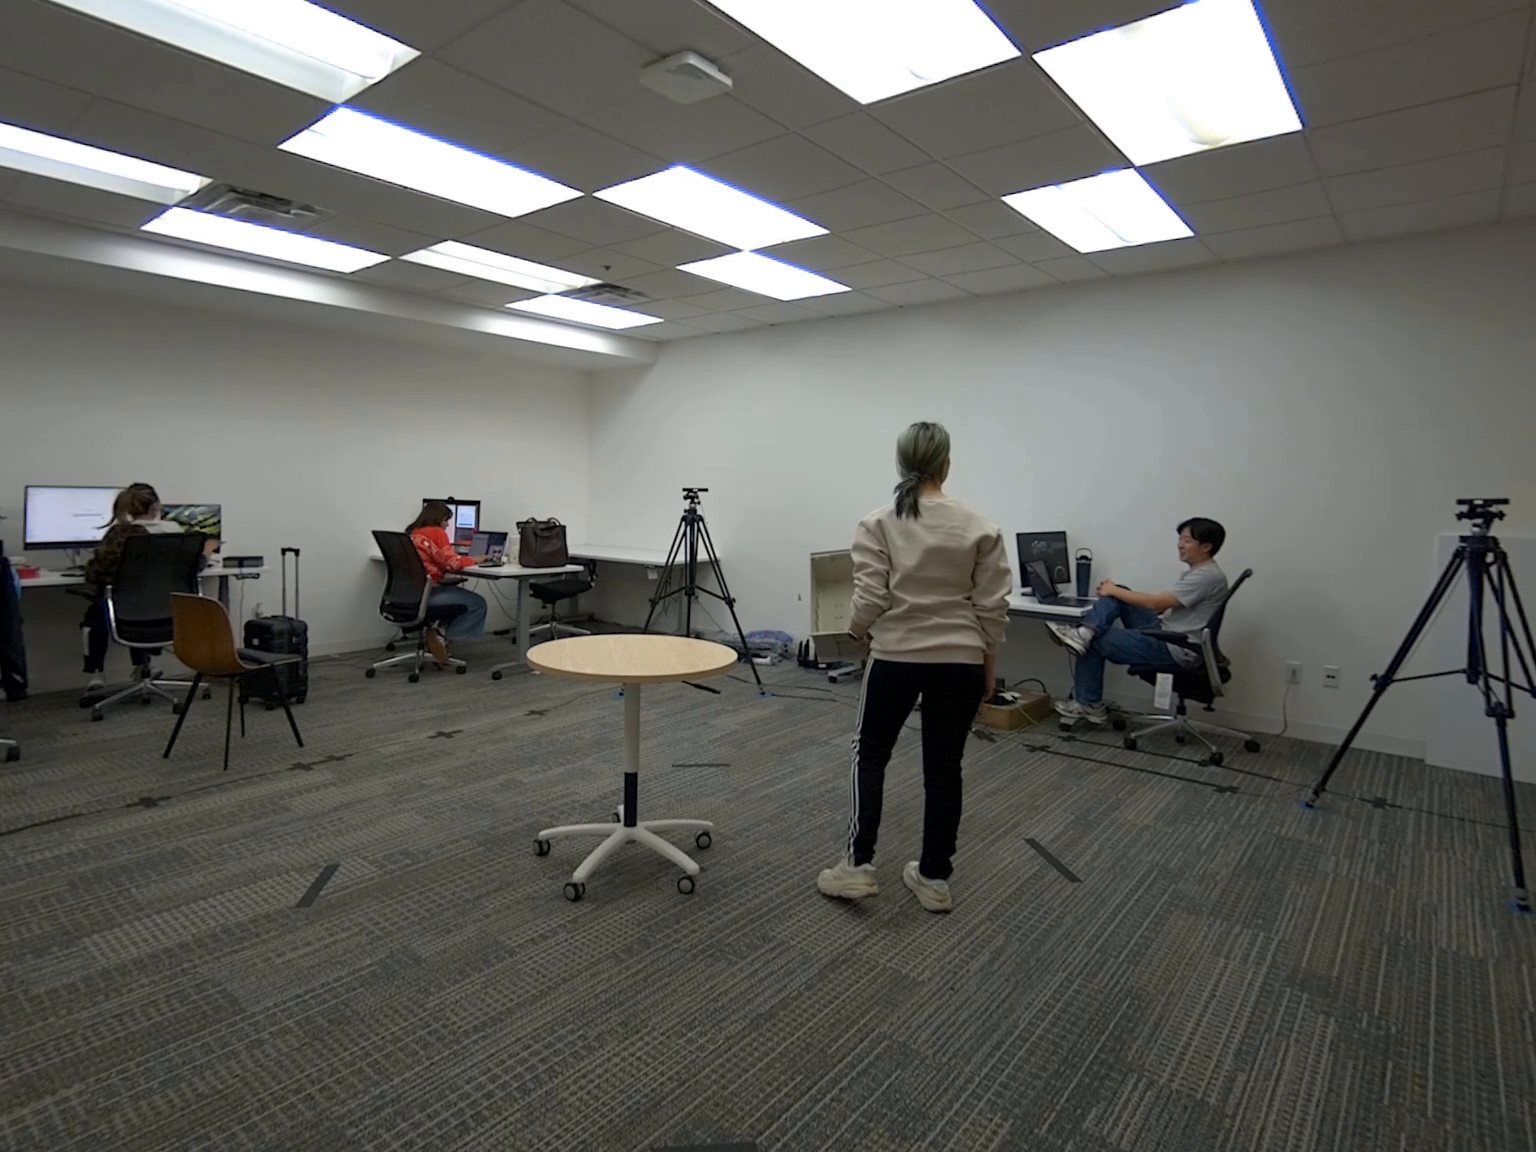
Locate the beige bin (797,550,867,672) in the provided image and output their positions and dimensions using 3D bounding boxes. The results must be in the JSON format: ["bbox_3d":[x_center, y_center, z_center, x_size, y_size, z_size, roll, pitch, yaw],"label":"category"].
[{"bbox_3d":[0.353,0.100,3.306,0.382,0.433,0.182,-6,-44,12],"label":"beige bin"}]
